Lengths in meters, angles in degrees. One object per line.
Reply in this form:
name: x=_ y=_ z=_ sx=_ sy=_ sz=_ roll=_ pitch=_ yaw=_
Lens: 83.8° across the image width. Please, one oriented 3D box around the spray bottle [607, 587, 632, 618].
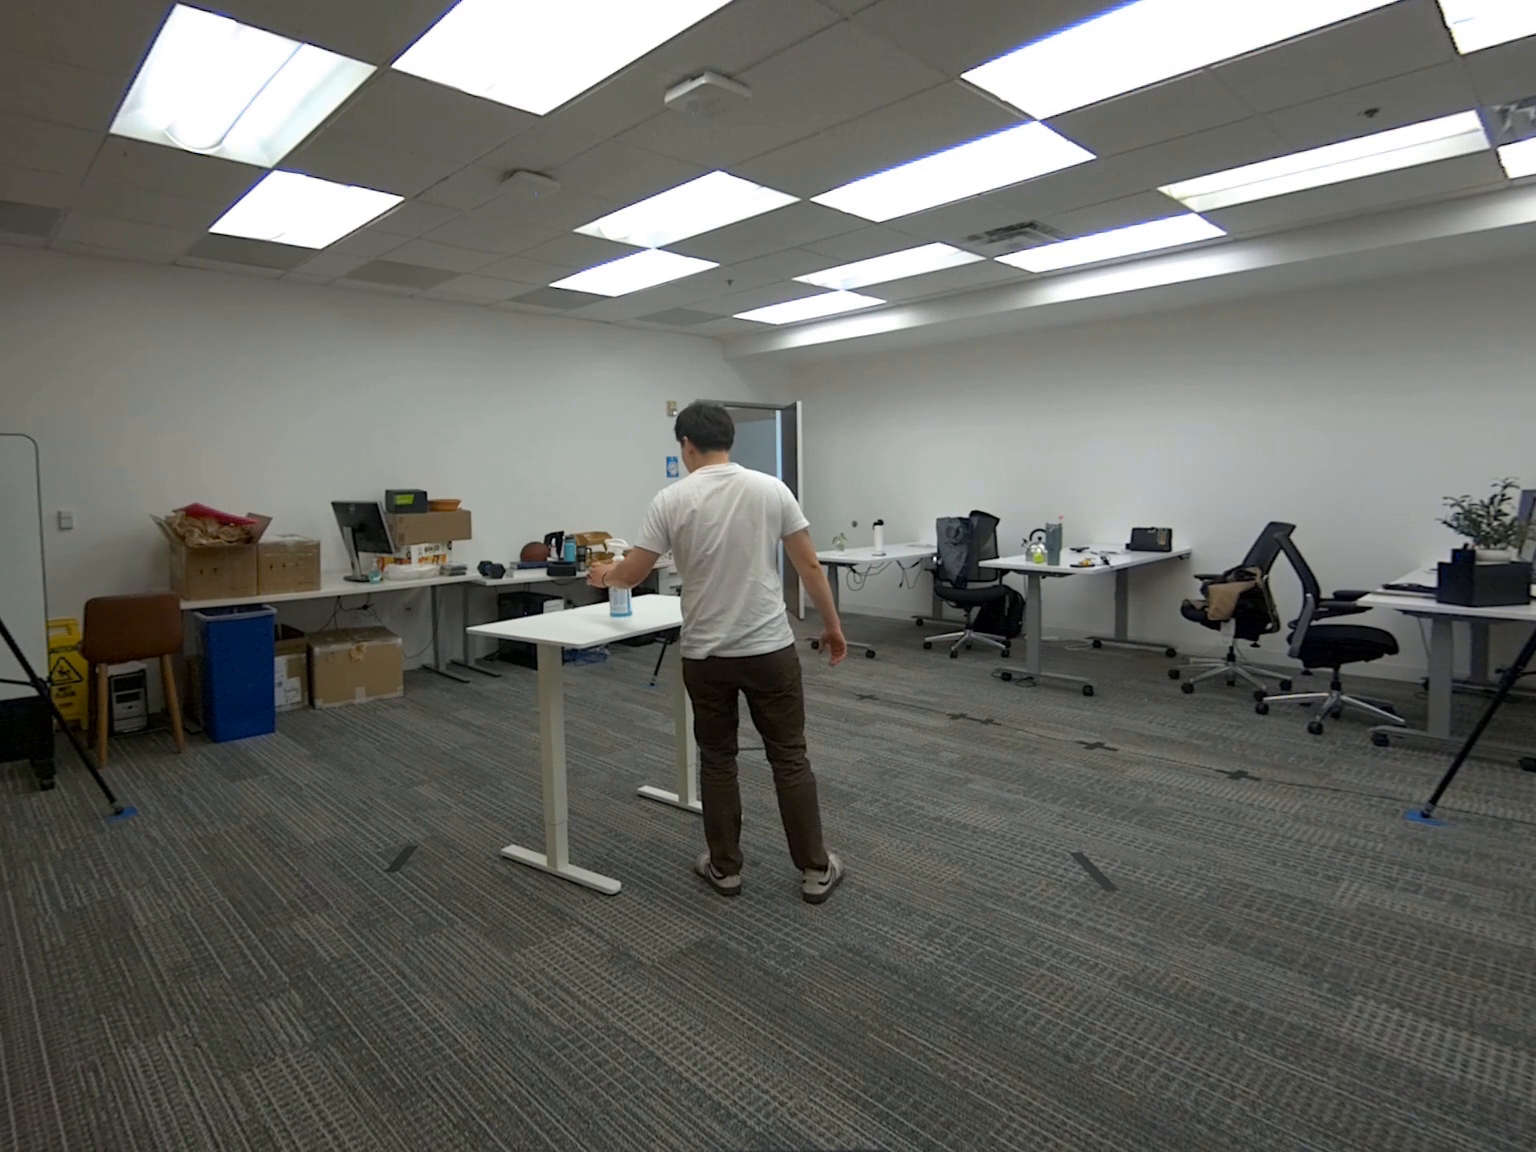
spray bottle: x=-0.571 y=0.008 z=3.291 sx=0.092 sy=0.297 sz=0.085 roll=-1 pitch=3 yaw=33
